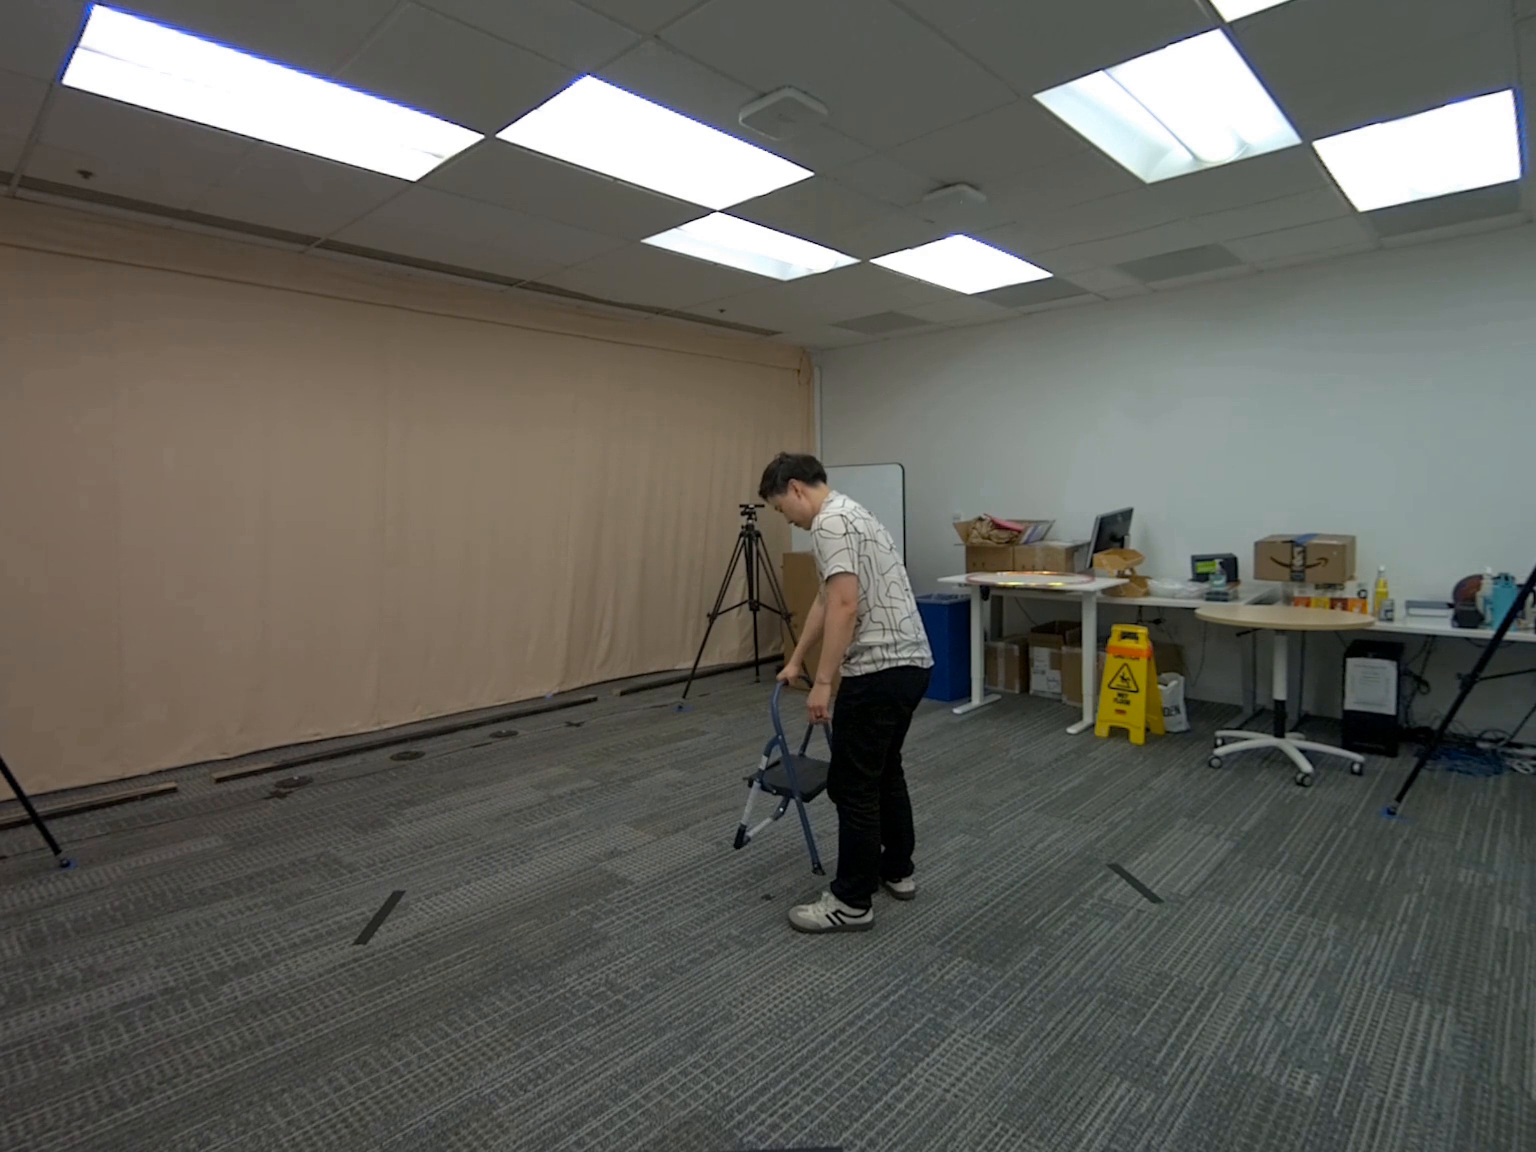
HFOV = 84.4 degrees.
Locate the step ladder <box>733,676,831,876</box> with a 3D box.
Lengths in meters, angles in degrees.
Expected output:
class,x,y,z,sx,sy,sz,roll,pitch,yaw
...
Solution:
class,x,y,z,sx,sy,sz,roll,pitch,yaw
step ladder,0.136,0.685,3.103,0.359,0.604,0.420,7,5,27
